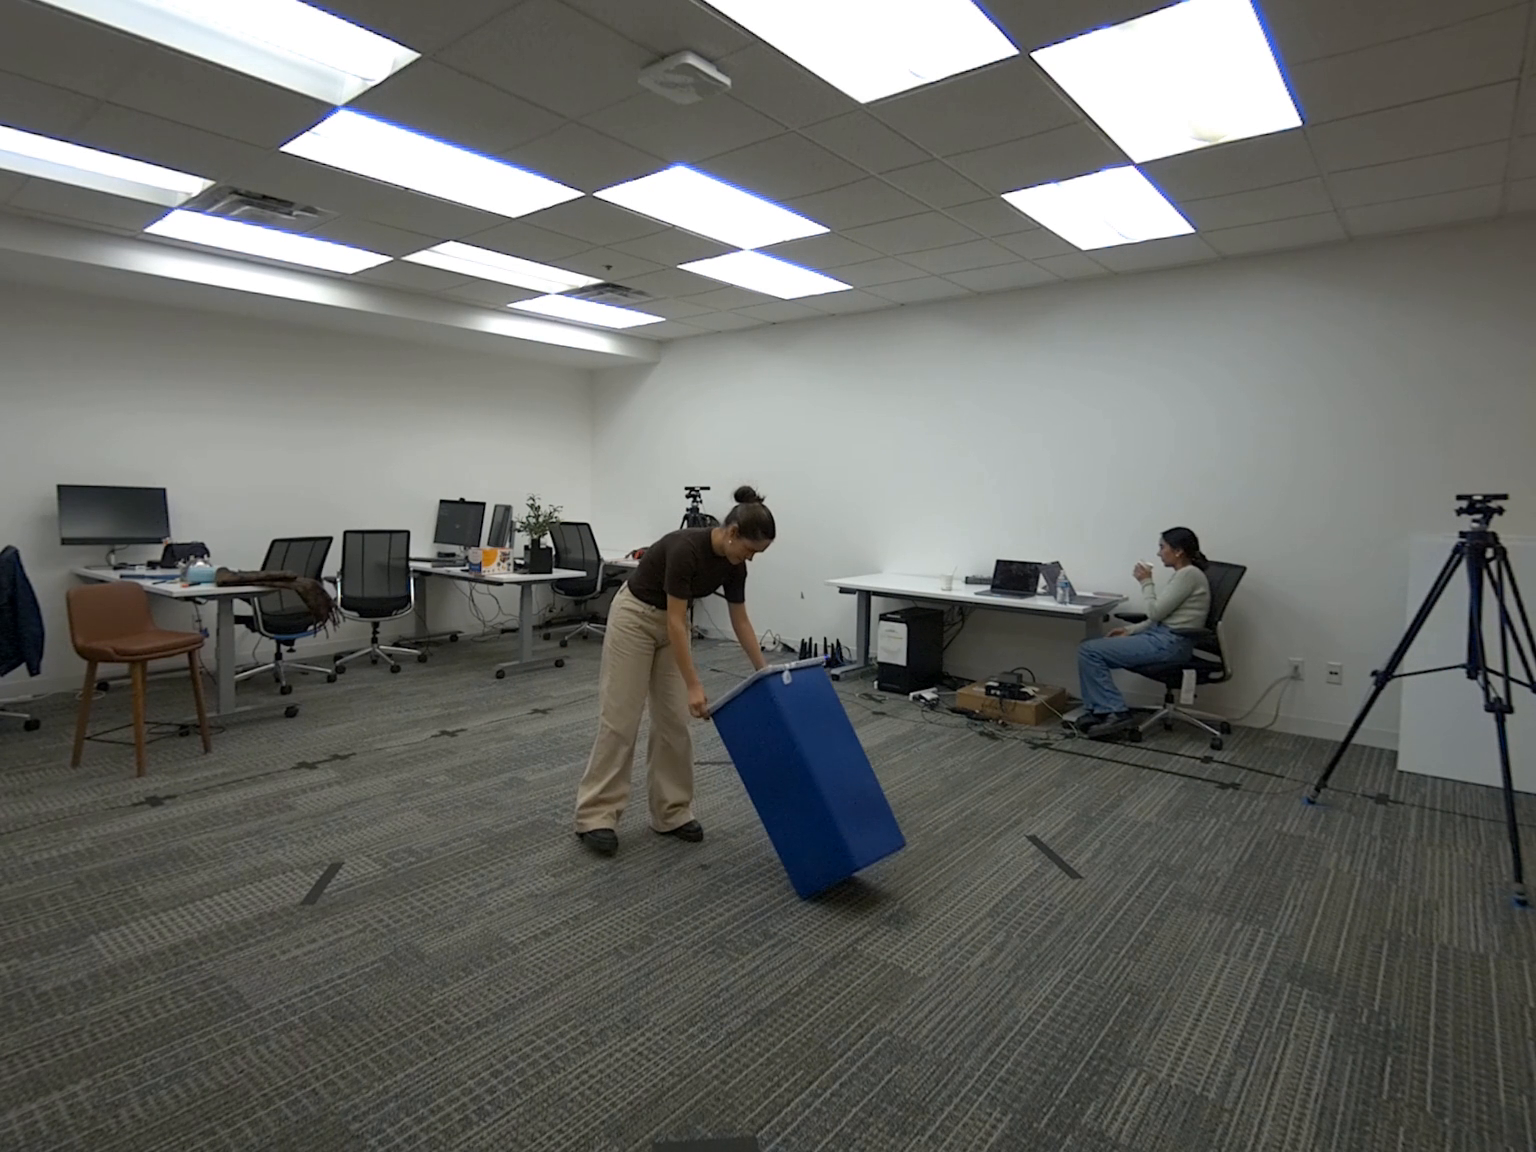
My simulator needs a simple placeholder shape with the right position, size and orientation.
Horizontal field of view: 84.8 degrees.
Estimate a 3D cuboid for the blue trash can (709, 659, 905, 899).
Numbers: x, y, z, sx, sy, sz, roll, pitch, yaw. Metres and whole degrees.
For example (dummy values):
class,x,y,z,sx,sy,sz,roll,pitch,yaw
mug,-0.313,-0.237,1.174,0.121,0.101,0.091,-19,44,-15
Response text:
class,x,y,z,sx,sy,sz,roll,pitch,yaw
blue trash can,0.120,0.705,3.035,0.366,0.733,0.376,0,-33,-47
